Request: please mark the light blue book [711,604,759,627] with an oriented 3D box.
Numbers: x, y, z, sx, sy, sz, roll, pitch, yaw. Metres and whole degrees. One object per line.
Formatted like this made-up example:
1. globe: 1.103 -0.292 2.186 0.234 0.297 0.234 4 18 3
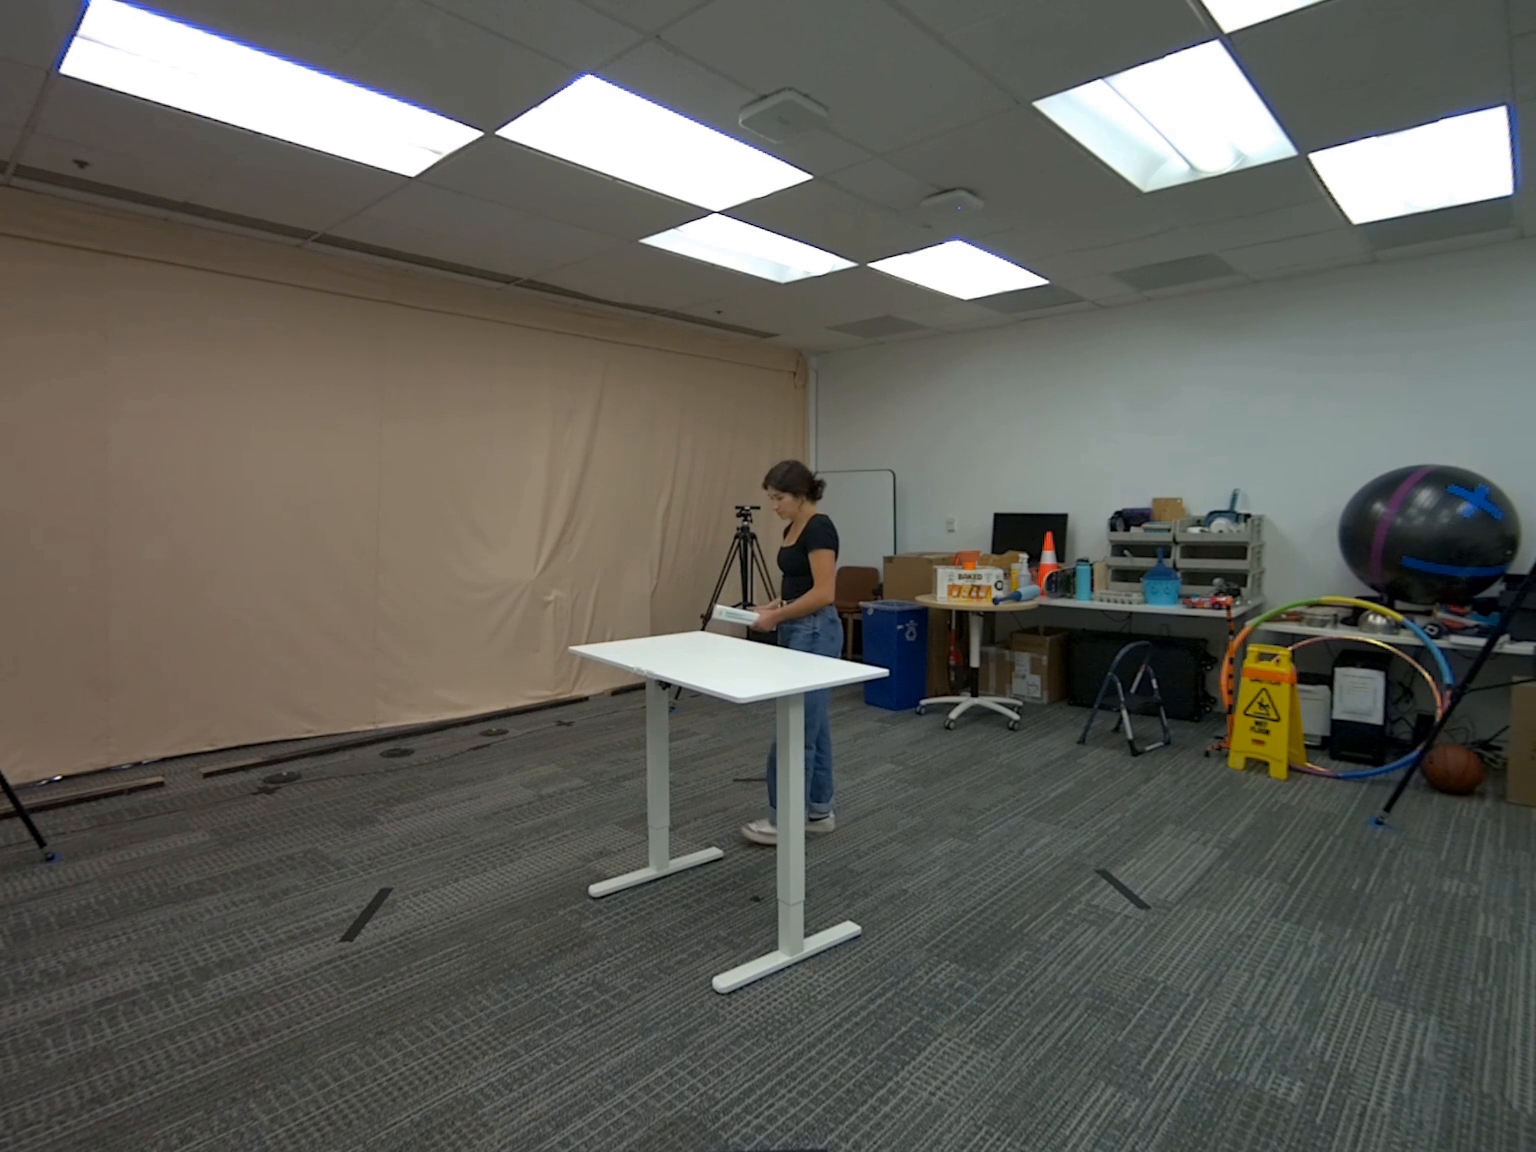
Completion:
1. light blue book: -0.094 0.177 3.614 0.258 0.059 0.193 11 -2 -10
